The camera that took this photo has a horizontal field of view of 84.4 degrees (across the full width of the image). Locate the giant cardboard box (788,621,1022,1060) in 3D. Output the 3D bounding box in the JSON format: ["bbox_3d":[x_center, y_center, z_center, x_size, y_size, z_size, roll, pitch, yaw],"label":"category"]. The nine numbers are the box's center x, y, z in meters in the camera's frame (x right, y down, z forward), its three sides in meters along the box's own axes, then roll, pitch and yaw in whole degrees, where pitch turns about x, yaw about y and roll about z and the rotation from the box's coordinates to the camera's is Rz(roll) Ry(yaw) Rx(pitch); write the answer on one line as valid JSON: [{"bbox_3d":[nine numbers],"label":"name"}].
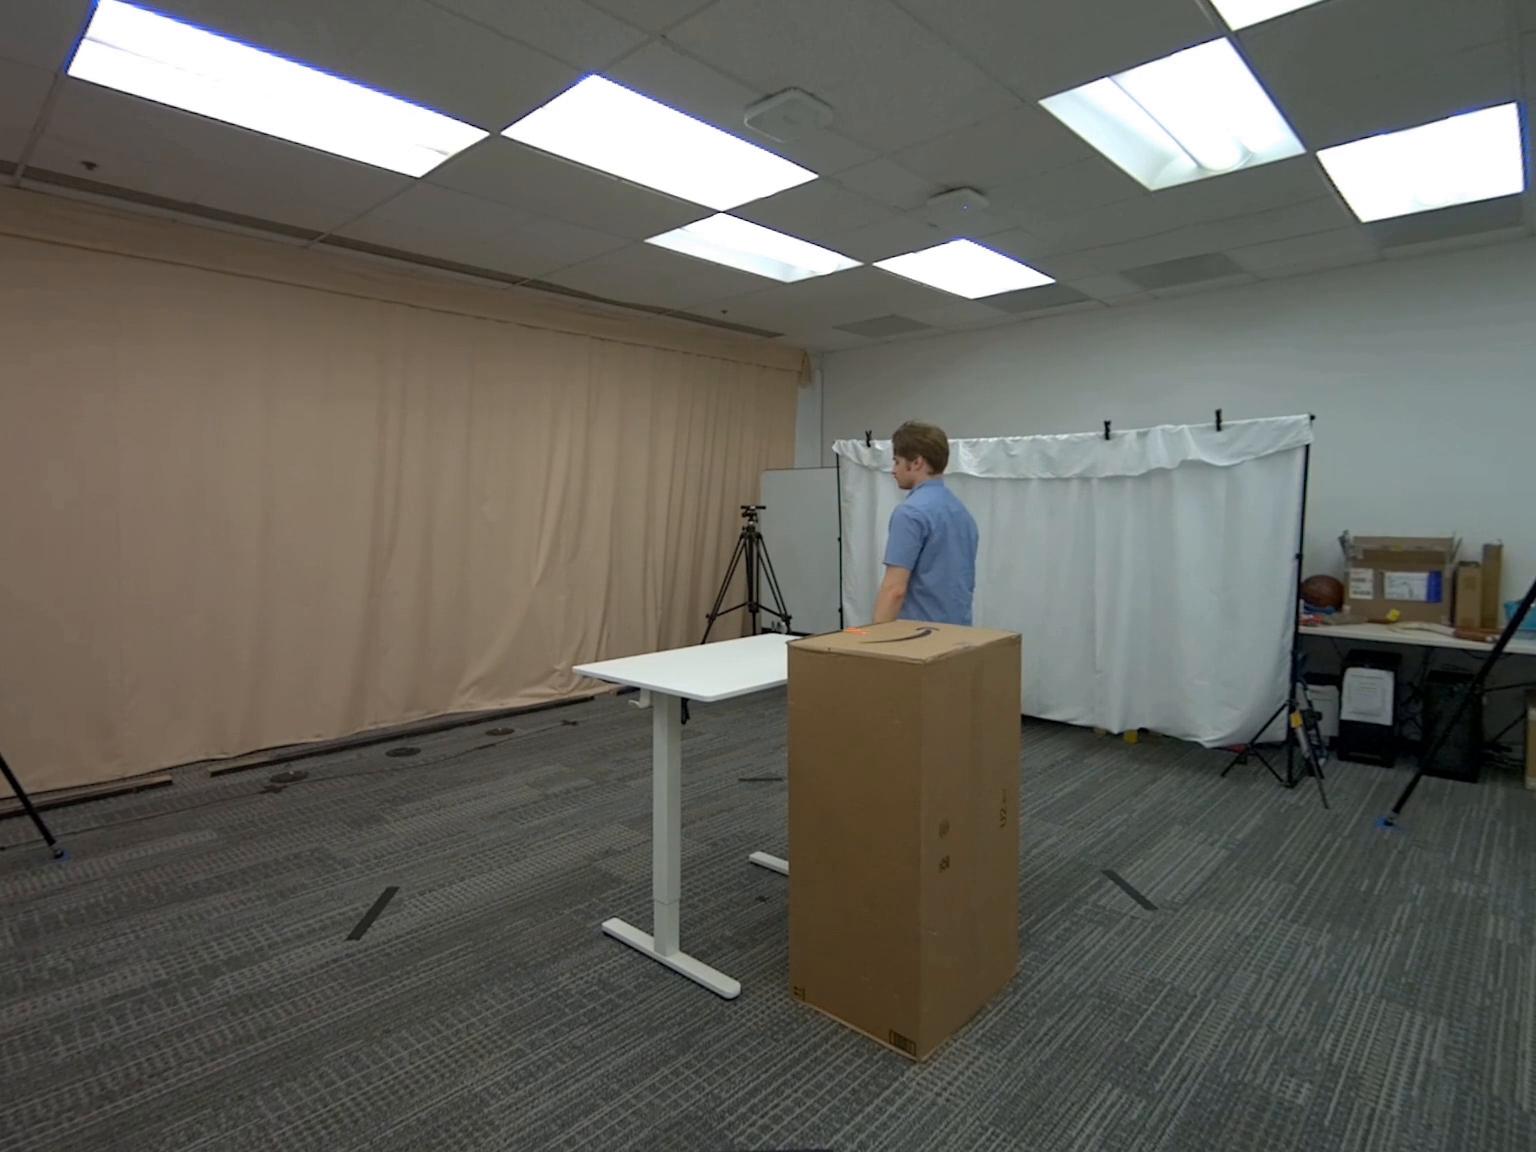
[{"bbox_3d":[0.399,0.680,2.417,0.440,1.023,0.560,3,5,43],"label":"giant cardboard box"}]
